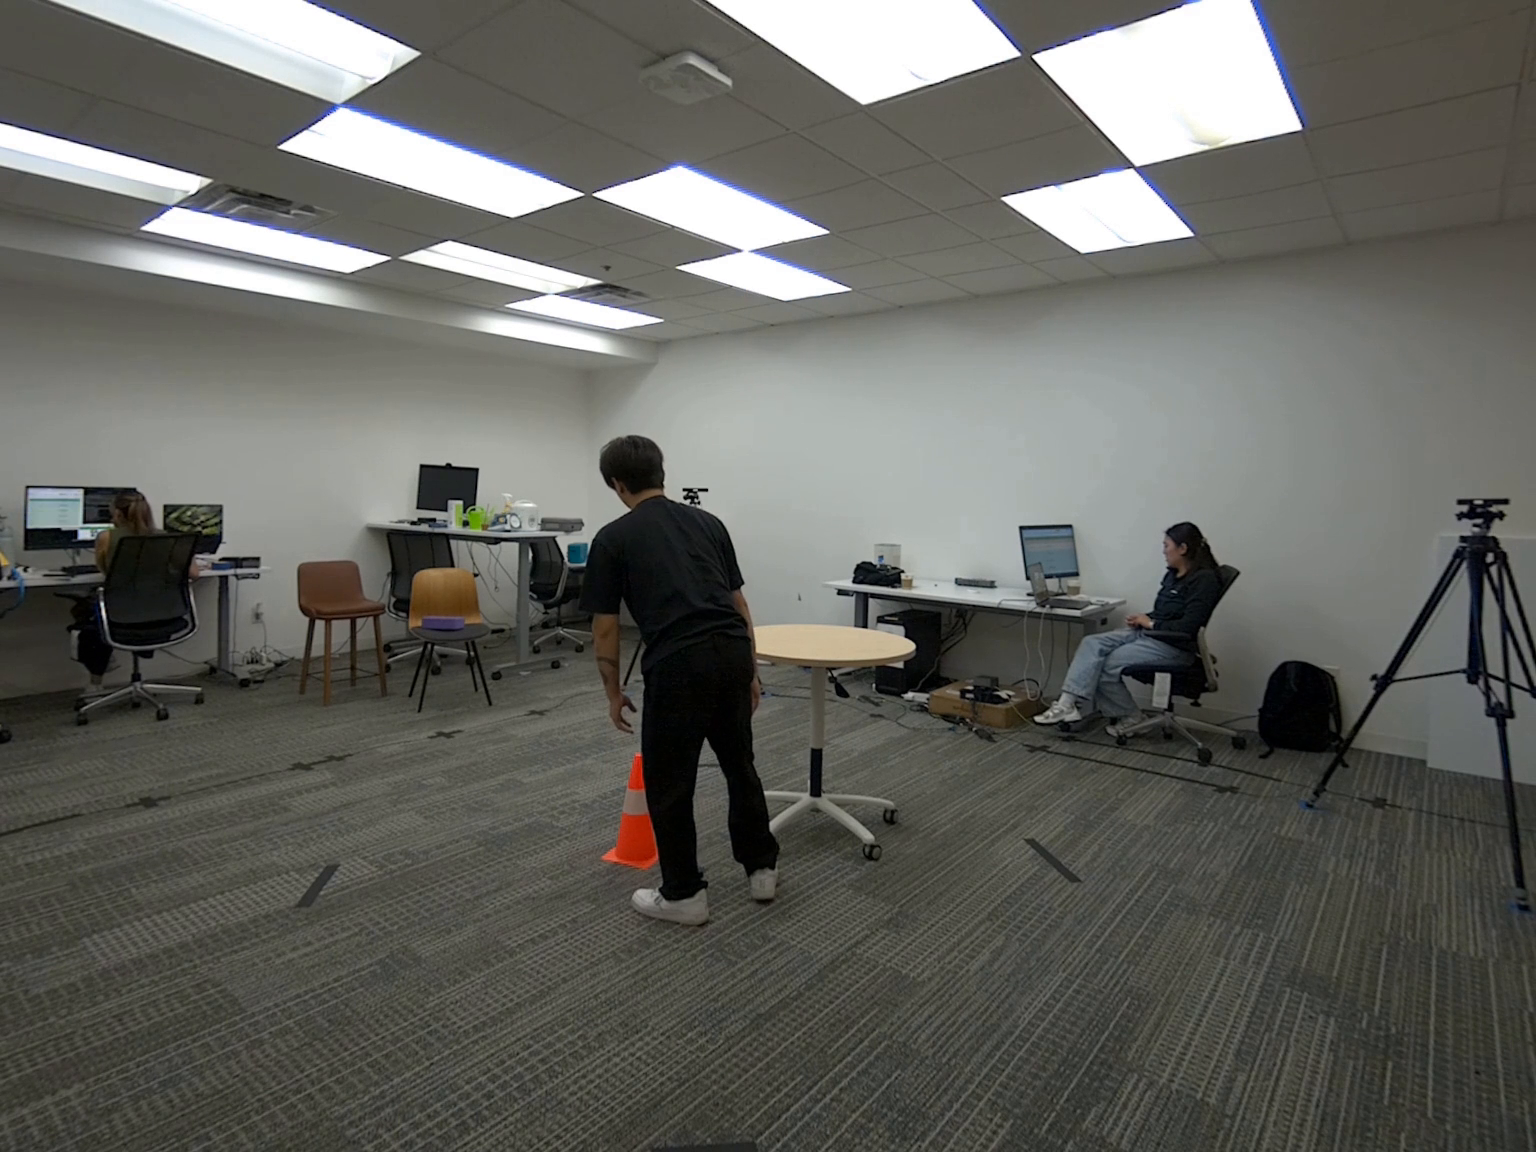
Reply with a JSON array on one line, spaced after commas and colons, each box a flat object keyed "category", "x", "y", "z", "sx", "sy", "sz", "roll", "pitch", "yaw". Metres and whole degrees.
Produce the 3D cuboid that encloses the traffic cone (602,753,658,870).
[{"category": "traffic cone", "x": -0.506, "y": 0.869, "z": 3.220, "sx": 0.209, "sy": 0.382, "sz": 0.200, "roll": 3, "pitch": 5, "yaw": 17}]
